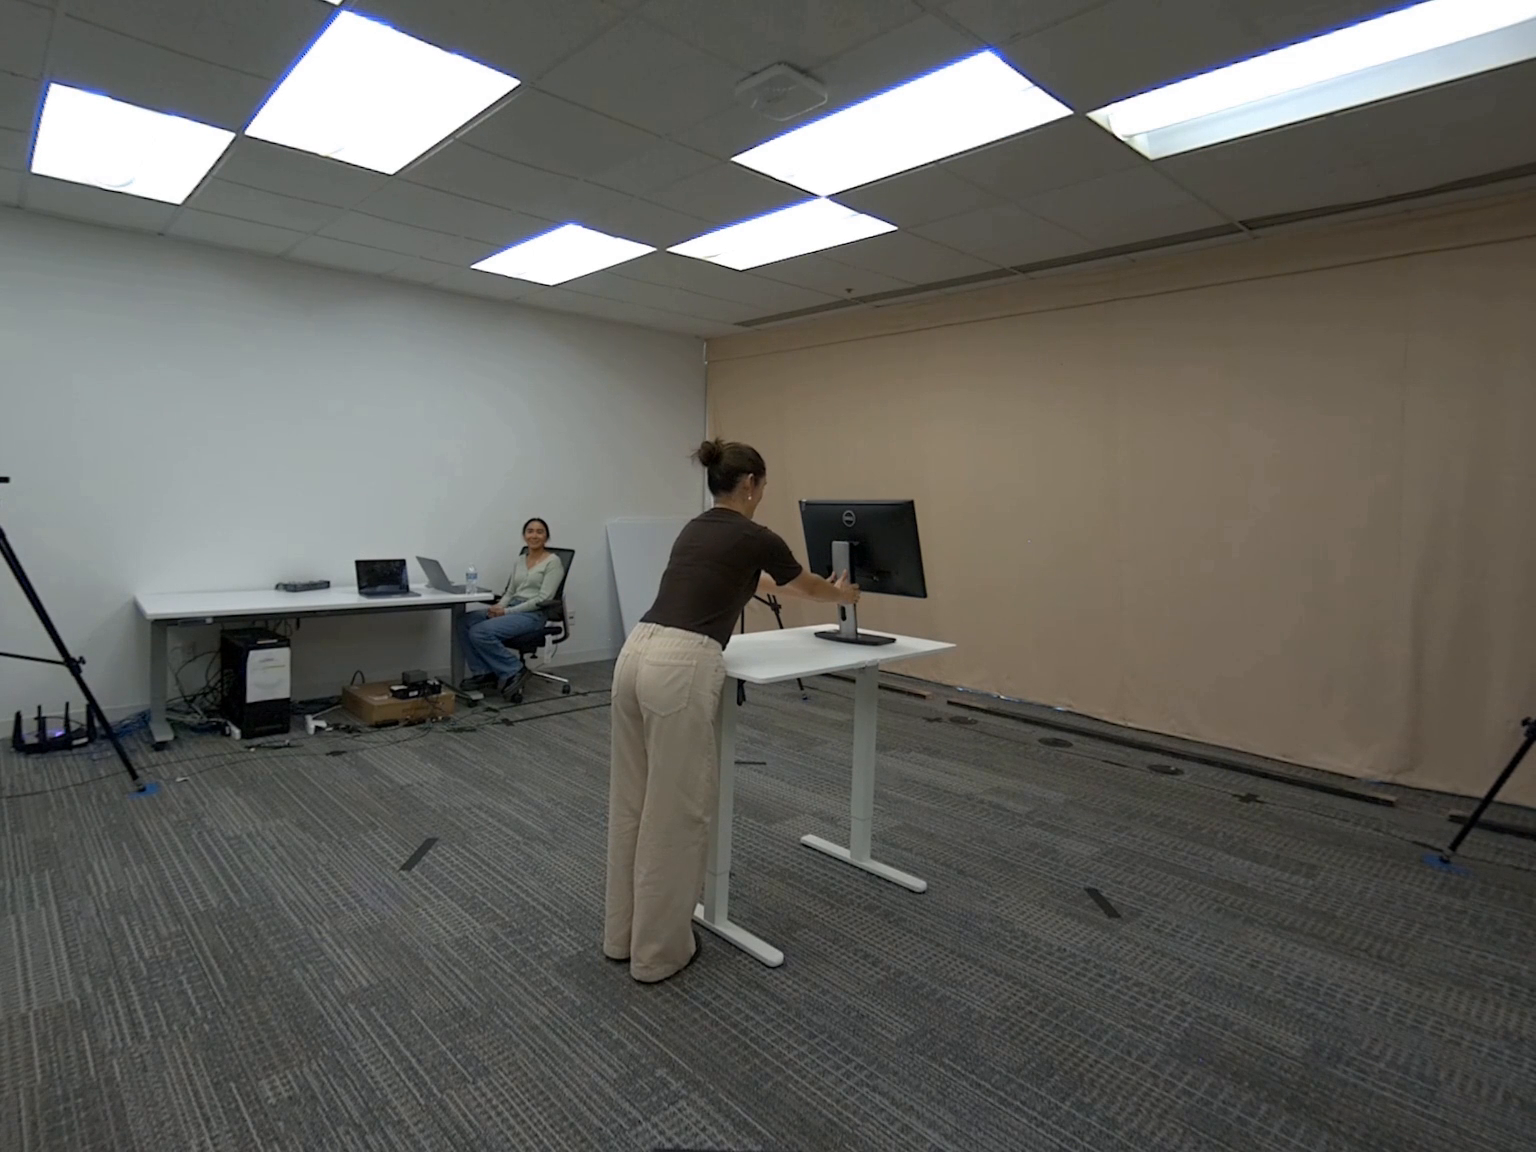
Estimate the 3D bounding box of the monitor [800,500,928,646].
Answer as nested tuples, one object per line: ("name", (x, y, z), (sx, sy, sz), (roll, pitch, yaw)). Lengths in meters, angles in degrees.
("monitor", (0.313, -0.015, 3.074), (0.183, 0.521, 0.553), (-4, 6, -44))
